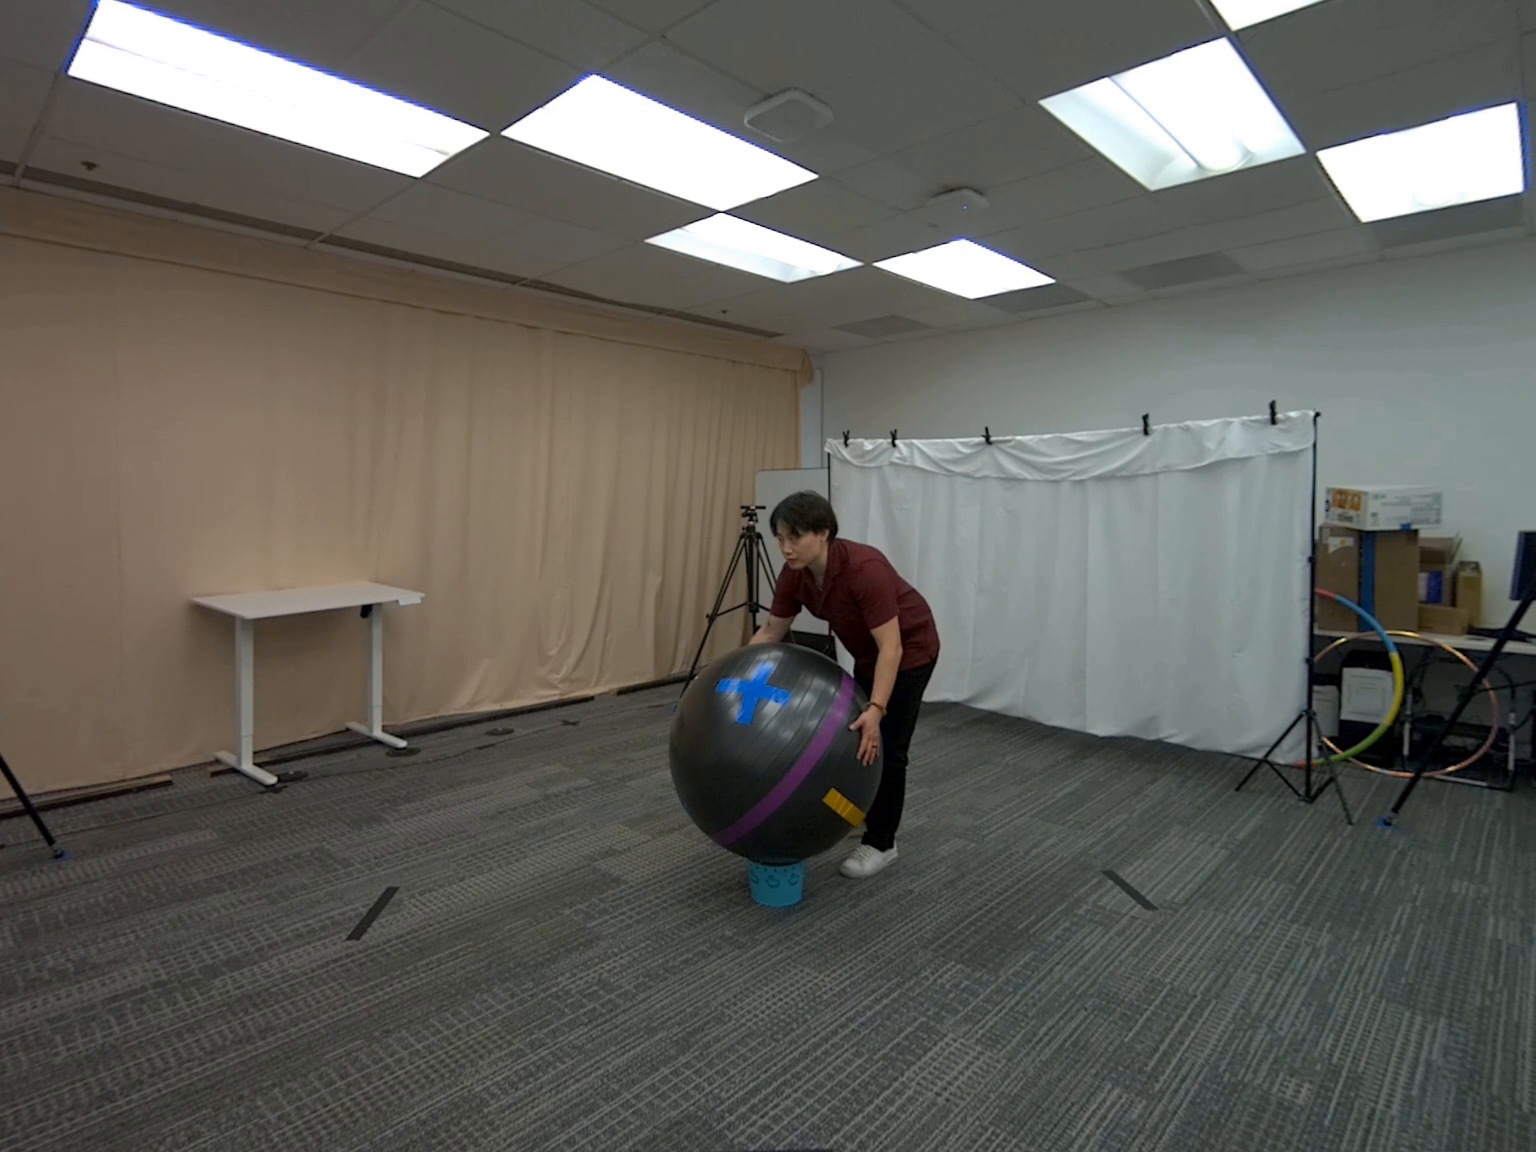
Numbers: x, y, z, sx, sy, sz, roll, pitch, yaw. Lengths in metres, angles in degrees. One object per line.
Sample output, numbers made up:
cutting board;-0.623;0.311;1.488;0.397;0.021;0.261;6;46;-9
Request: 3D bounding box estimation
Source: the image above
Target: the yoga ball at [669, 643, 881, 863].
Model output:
yoga ball;0.030;0.609;3.004;0.757;0.756;0.761;0;4;-2
